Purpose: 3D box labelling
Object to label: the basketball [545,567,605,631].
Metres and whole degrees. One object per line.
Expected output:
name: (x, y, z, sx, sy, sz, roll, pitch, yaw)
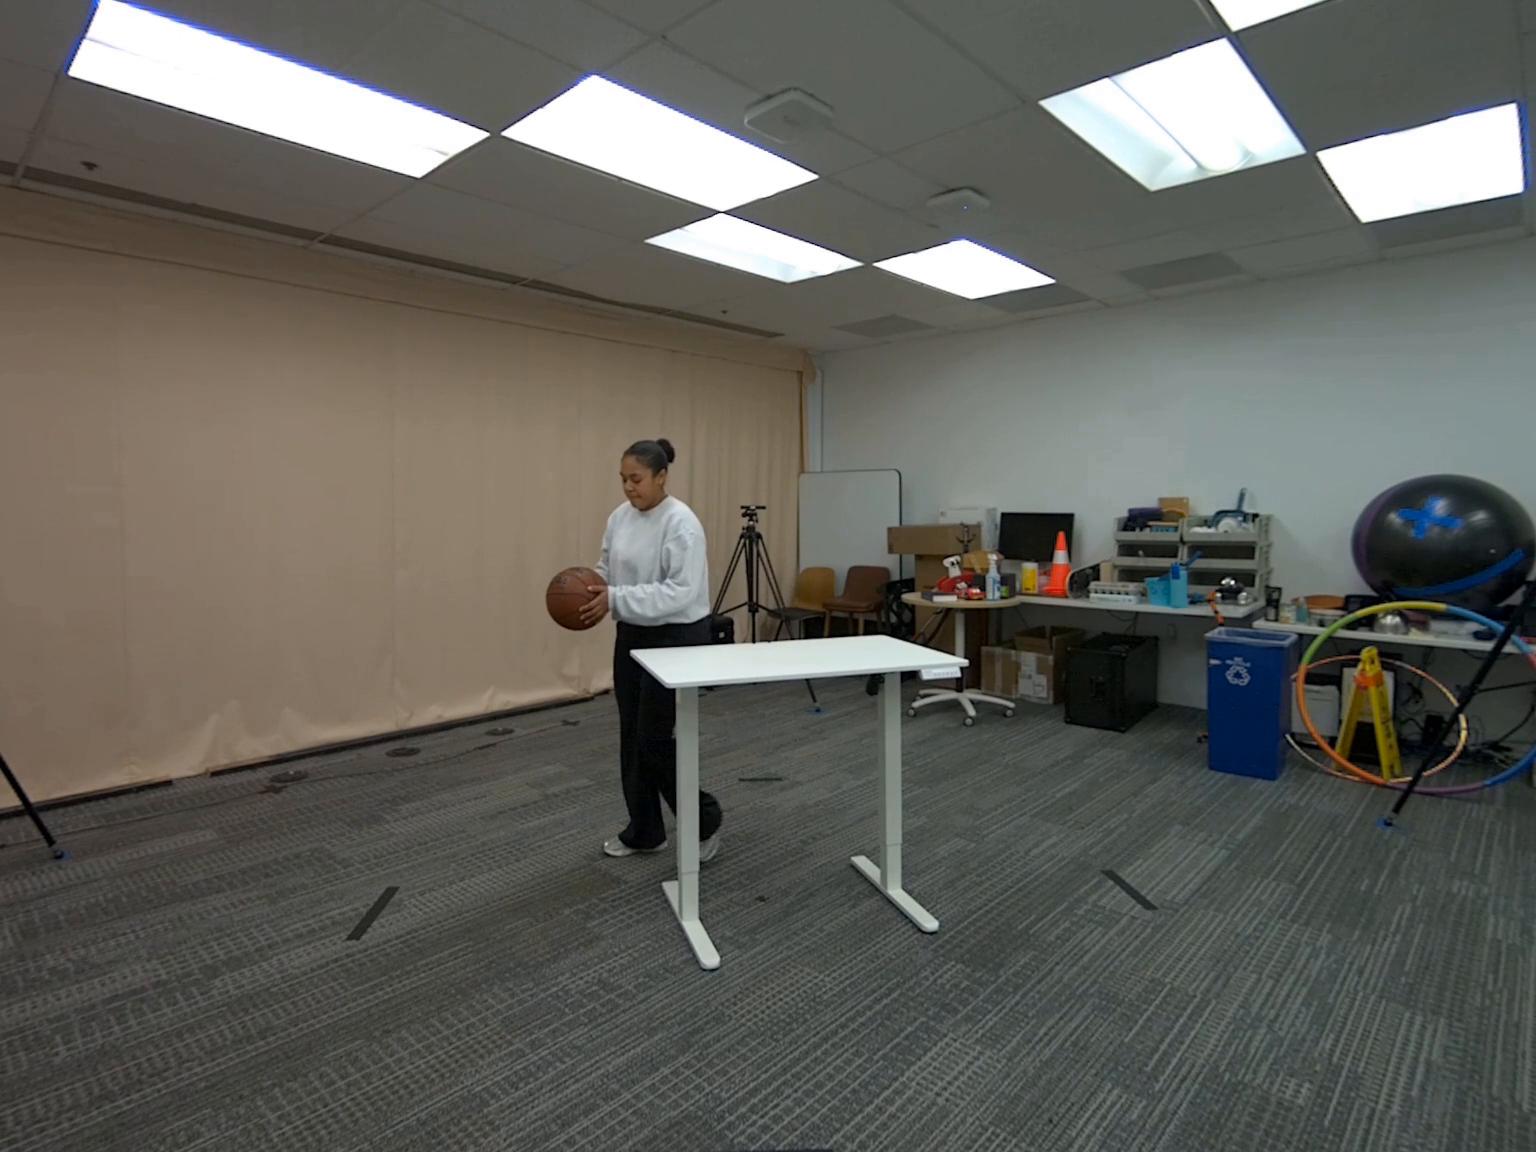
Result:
basketball: (-0.699, 0.093, 3.147, 0.236, 0.235, 0.237, 0, 4, -2)
